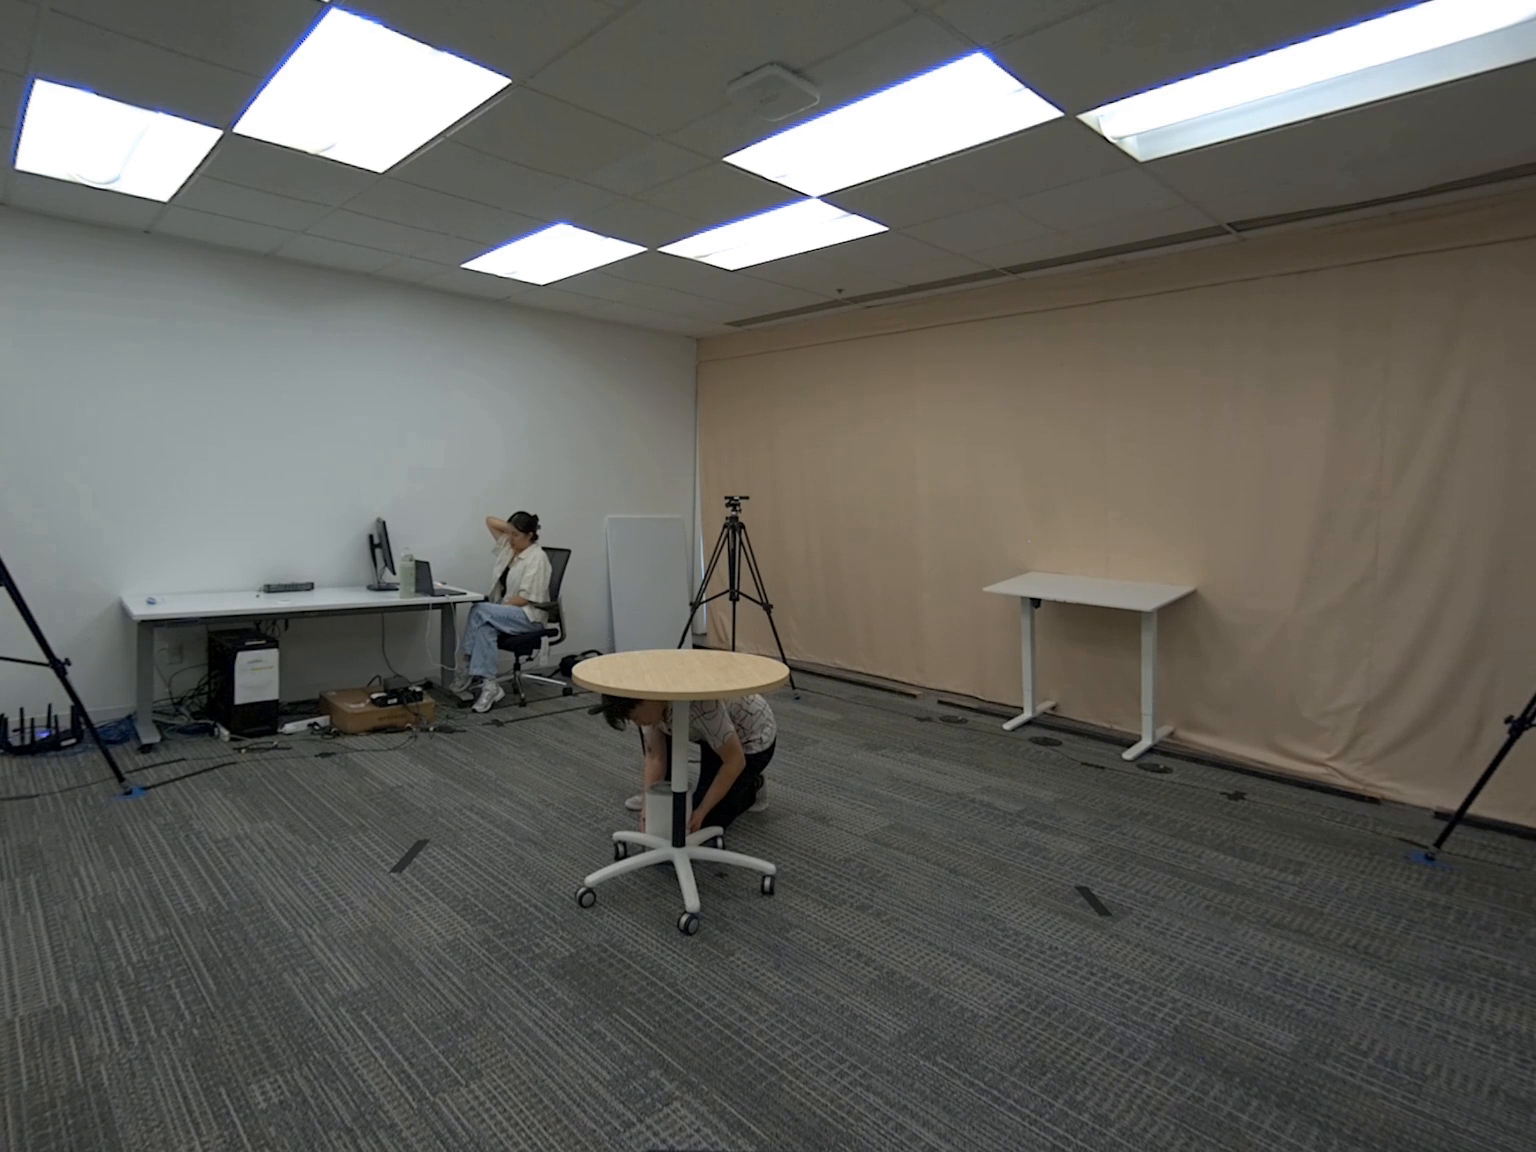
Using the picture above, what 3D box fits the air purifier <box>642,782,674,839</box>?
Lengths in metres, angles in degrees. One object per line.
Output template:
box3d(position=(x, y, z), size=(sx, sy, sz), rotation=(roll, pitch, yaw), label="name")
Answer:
box3d(position=(-0.398, 0.950, 3.245), size=(0.172, 0.265, 0.171), rotation=(2, 3, 5), label="air purifier")
